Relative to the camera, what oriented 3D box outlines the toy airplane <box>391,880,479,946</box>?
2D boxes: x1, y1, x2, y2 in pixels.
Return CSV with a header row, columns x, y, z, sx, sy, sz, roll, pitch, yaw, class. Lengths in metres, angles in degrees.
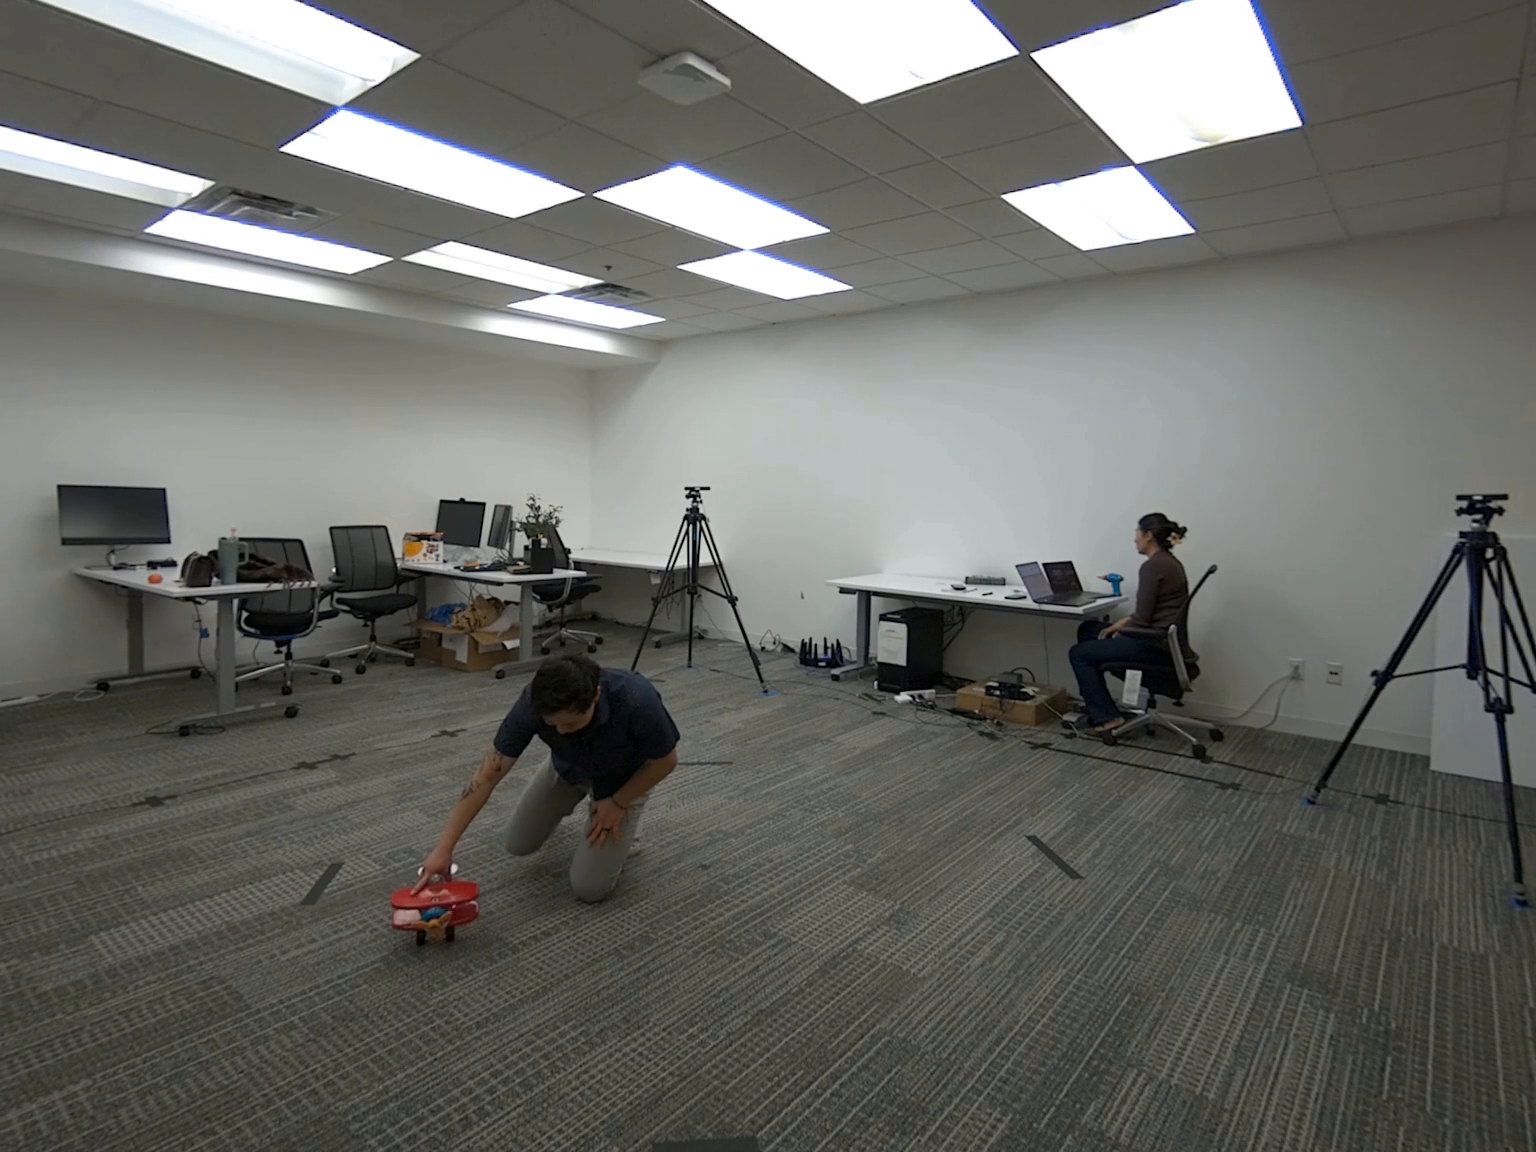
x,y,z,sx,sy,sz,roll,pitch,yaw,class
-1.049,0.999,2.621,0.246,0.153,0.270,-21,45,-38,toy airplane
